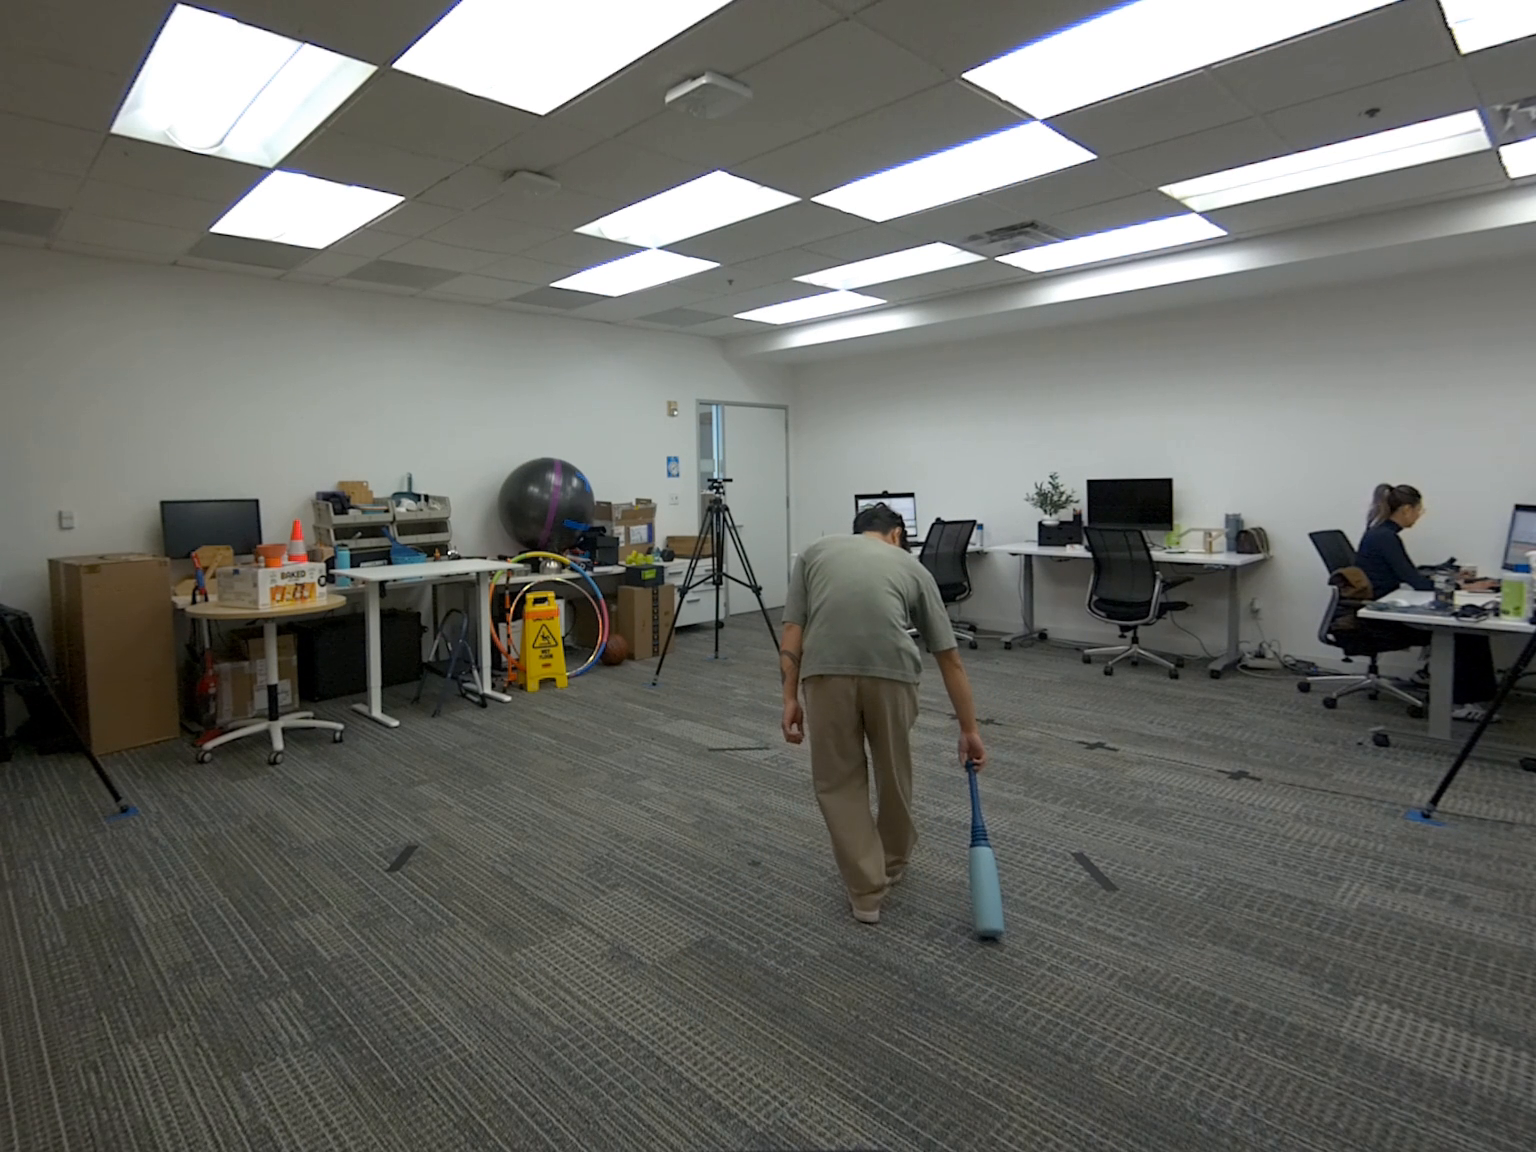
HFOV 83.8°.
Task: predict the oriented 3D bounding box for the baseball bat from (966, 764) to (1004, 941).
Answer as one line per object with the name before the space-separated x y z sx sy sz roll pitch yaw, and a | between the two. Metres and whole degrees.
baseball bat | 0.673 0.850 2.708 0.089 0.556 0.087 3 -36 0
